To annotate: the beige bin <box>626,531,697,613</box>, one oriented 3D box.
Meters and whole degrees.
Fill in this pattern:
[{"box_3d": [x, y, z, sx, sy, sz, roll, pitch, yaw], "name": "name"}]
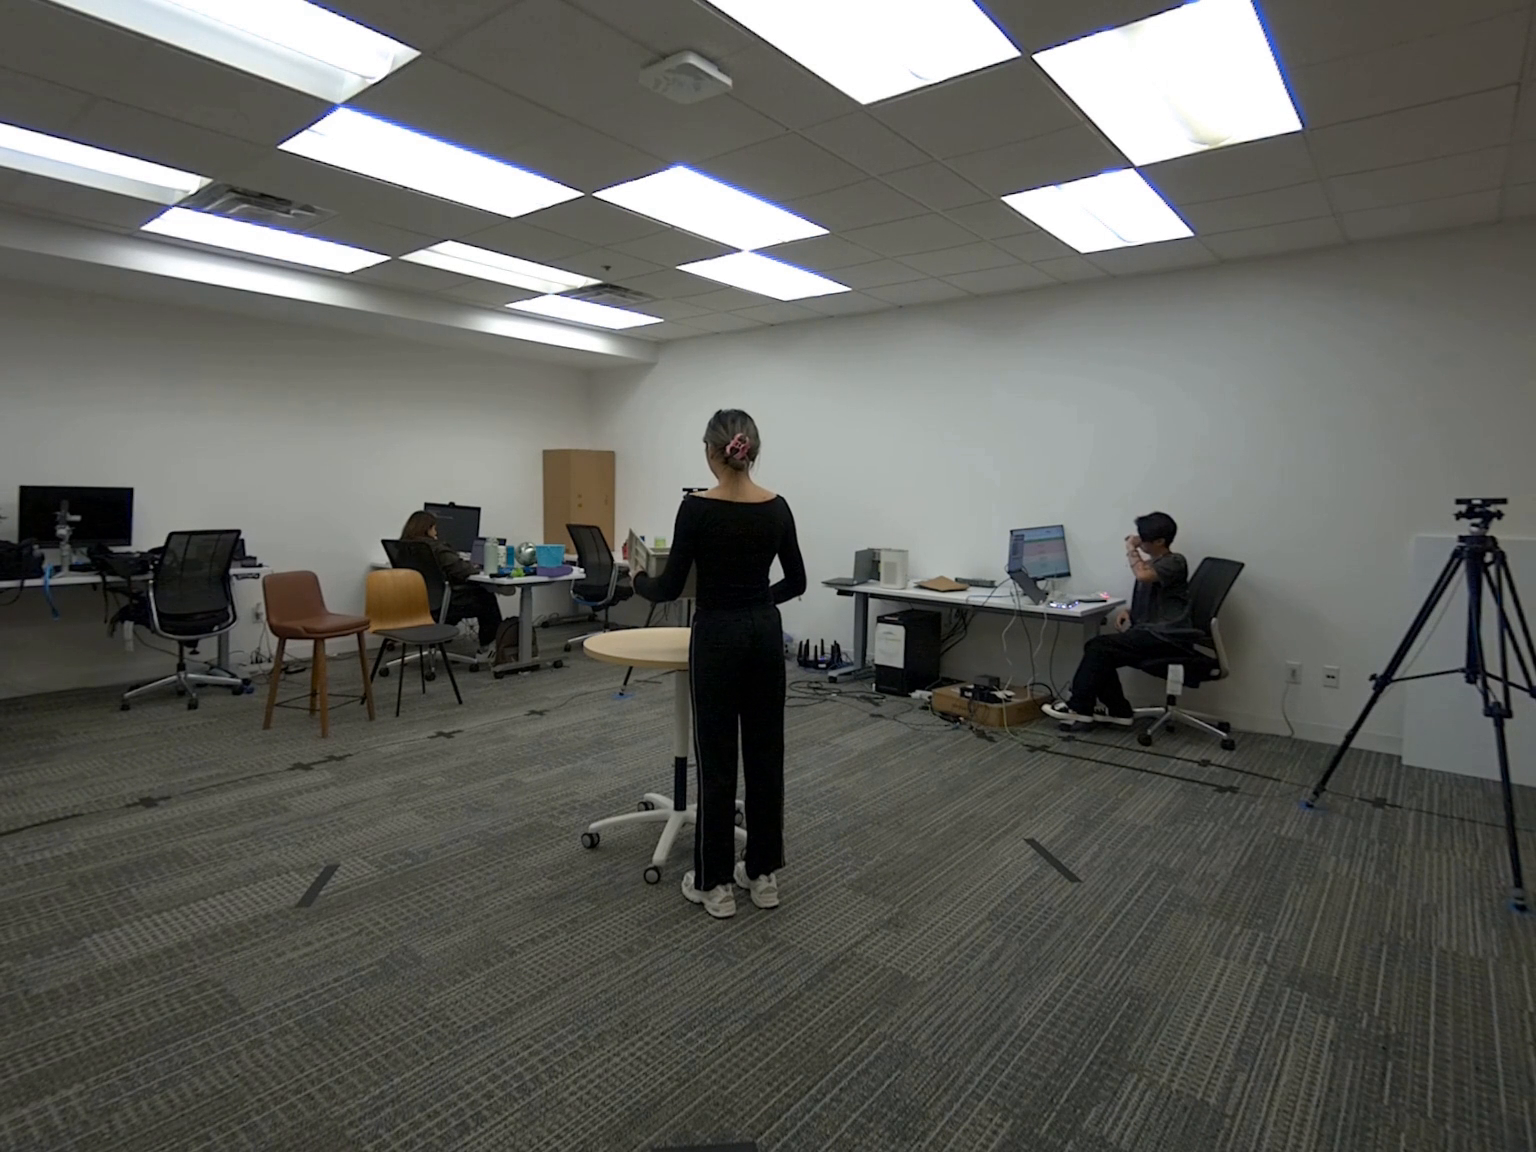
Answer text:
[{"box_3d": [-0.290, -0.054, 3.156, 0.414, 0.186, 0.390, -1, 18, -21], "name": "beige bin"}]
